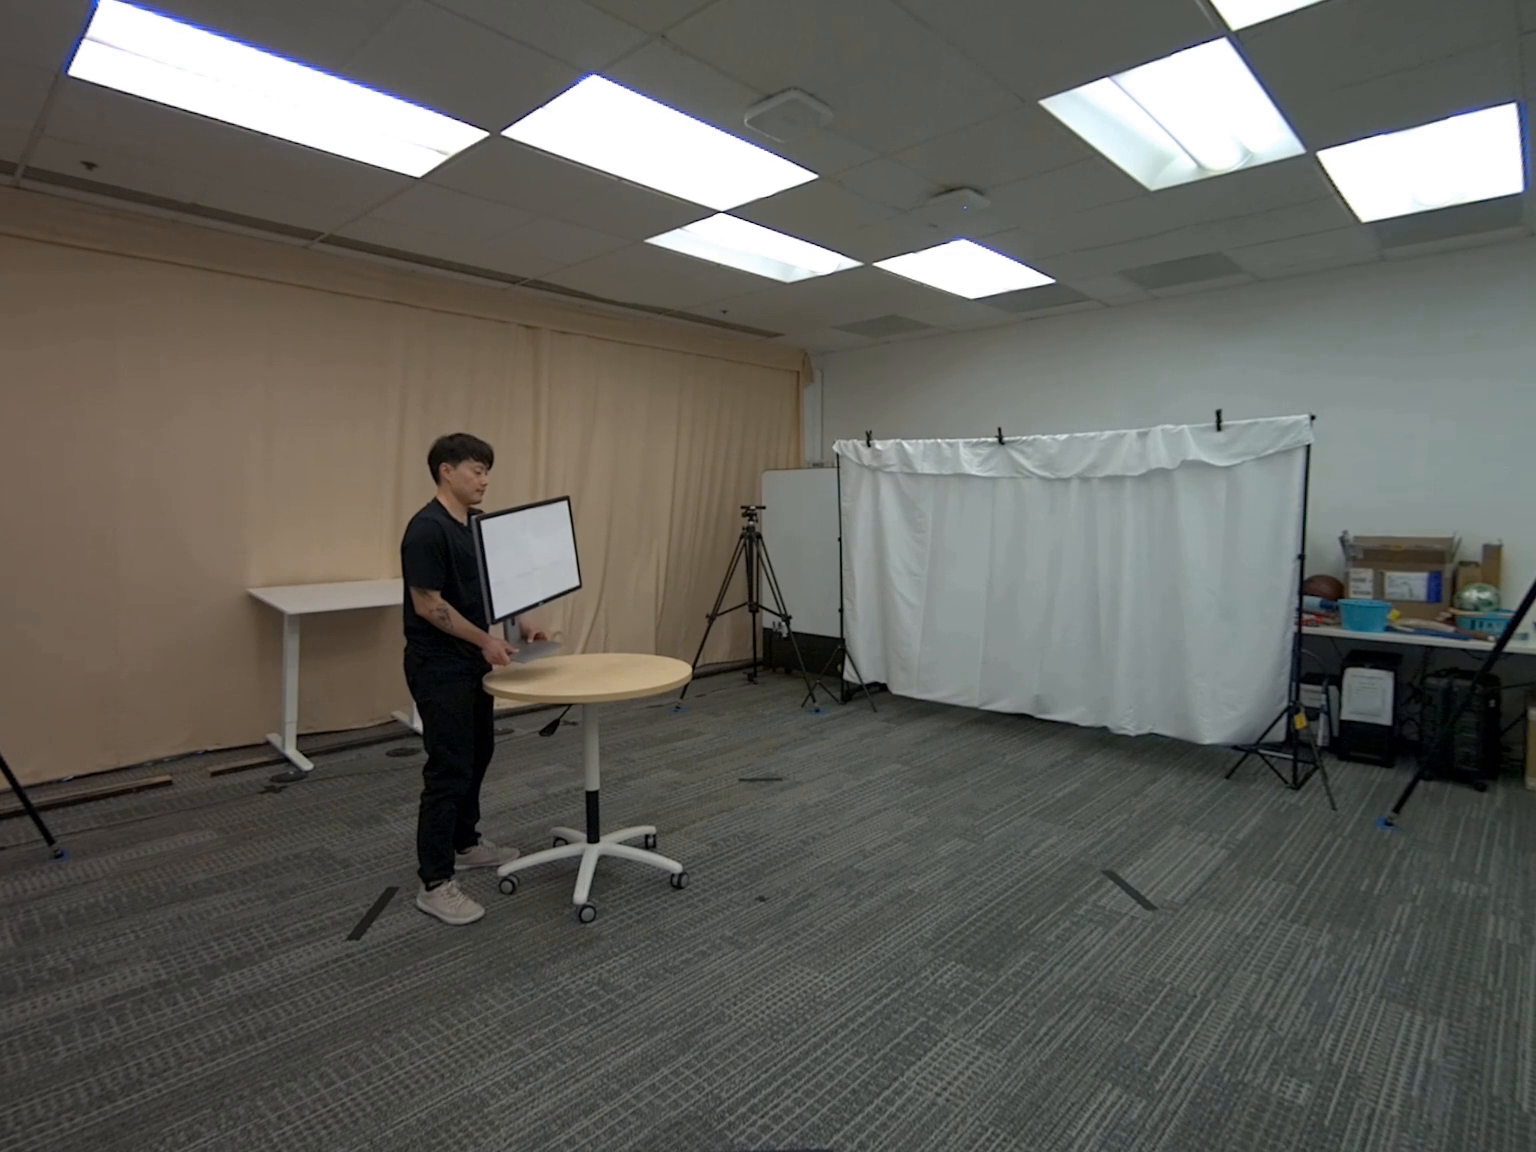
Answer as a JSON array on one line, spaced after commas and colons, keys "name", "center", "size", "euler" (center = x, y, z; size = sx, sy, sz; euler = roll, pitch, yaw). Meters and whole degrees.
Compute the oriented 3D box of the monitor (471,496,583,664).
[{"name": "monitor", "center": [-0.873, 0.012, 3.004], "size": [0.191, 0.519, 0.532], "euler": [9, 15, 16]}]
